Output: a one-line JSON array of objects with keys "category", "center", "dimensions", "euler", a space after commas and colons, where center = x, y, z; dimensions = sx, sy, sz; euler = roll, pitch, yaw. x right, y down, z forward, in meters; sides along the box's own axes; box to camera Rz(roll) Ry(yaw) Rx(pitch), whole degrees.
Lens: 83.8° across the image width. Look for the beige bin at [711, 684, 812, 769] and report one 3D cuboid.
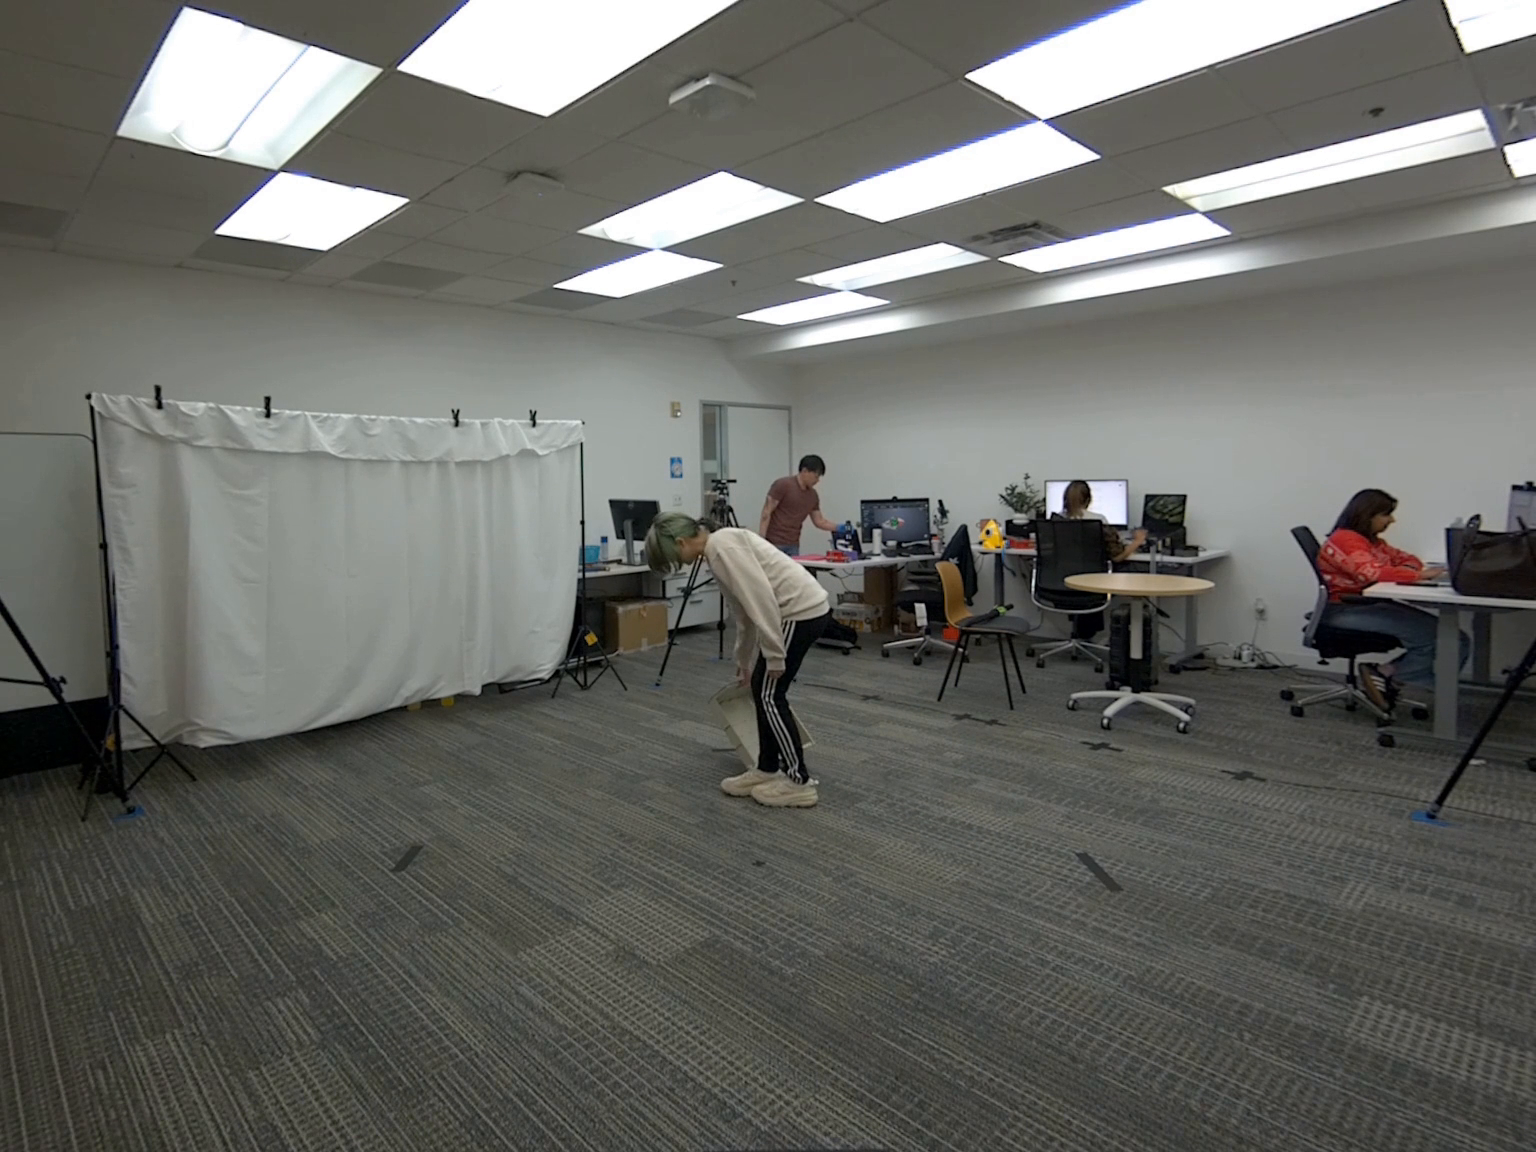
[{"category": "beige bin", "center": [-0.041, 0.714, 4.106], "dimensions": [0.189, 0.434, 0.368], "euler": [-48, -23, 28]}]
